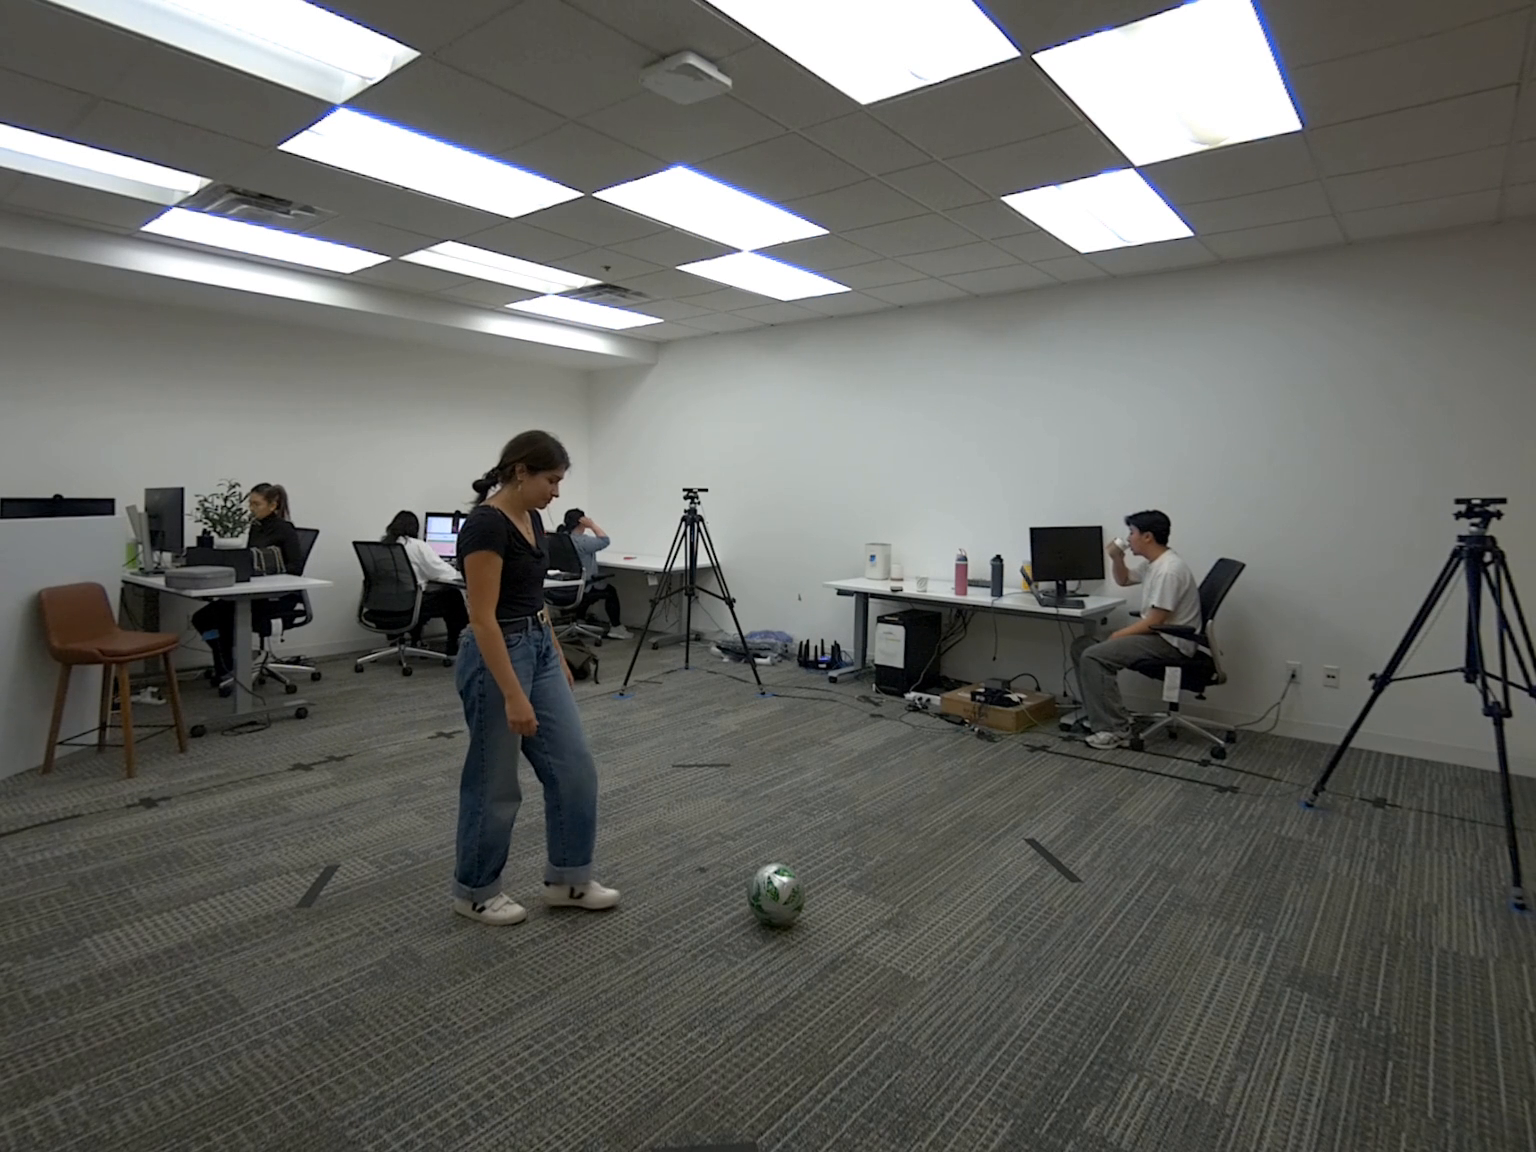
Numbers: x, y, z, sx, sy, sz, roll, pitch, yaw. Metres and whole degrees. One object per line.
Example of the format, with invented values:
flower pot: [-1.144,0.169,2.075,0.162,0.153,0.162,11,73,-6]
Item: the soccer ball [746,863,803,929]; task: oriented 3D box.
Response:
soccer ball: [0.026,1.019,2.731,0.187,0.187,0.188,1,4,-2]
